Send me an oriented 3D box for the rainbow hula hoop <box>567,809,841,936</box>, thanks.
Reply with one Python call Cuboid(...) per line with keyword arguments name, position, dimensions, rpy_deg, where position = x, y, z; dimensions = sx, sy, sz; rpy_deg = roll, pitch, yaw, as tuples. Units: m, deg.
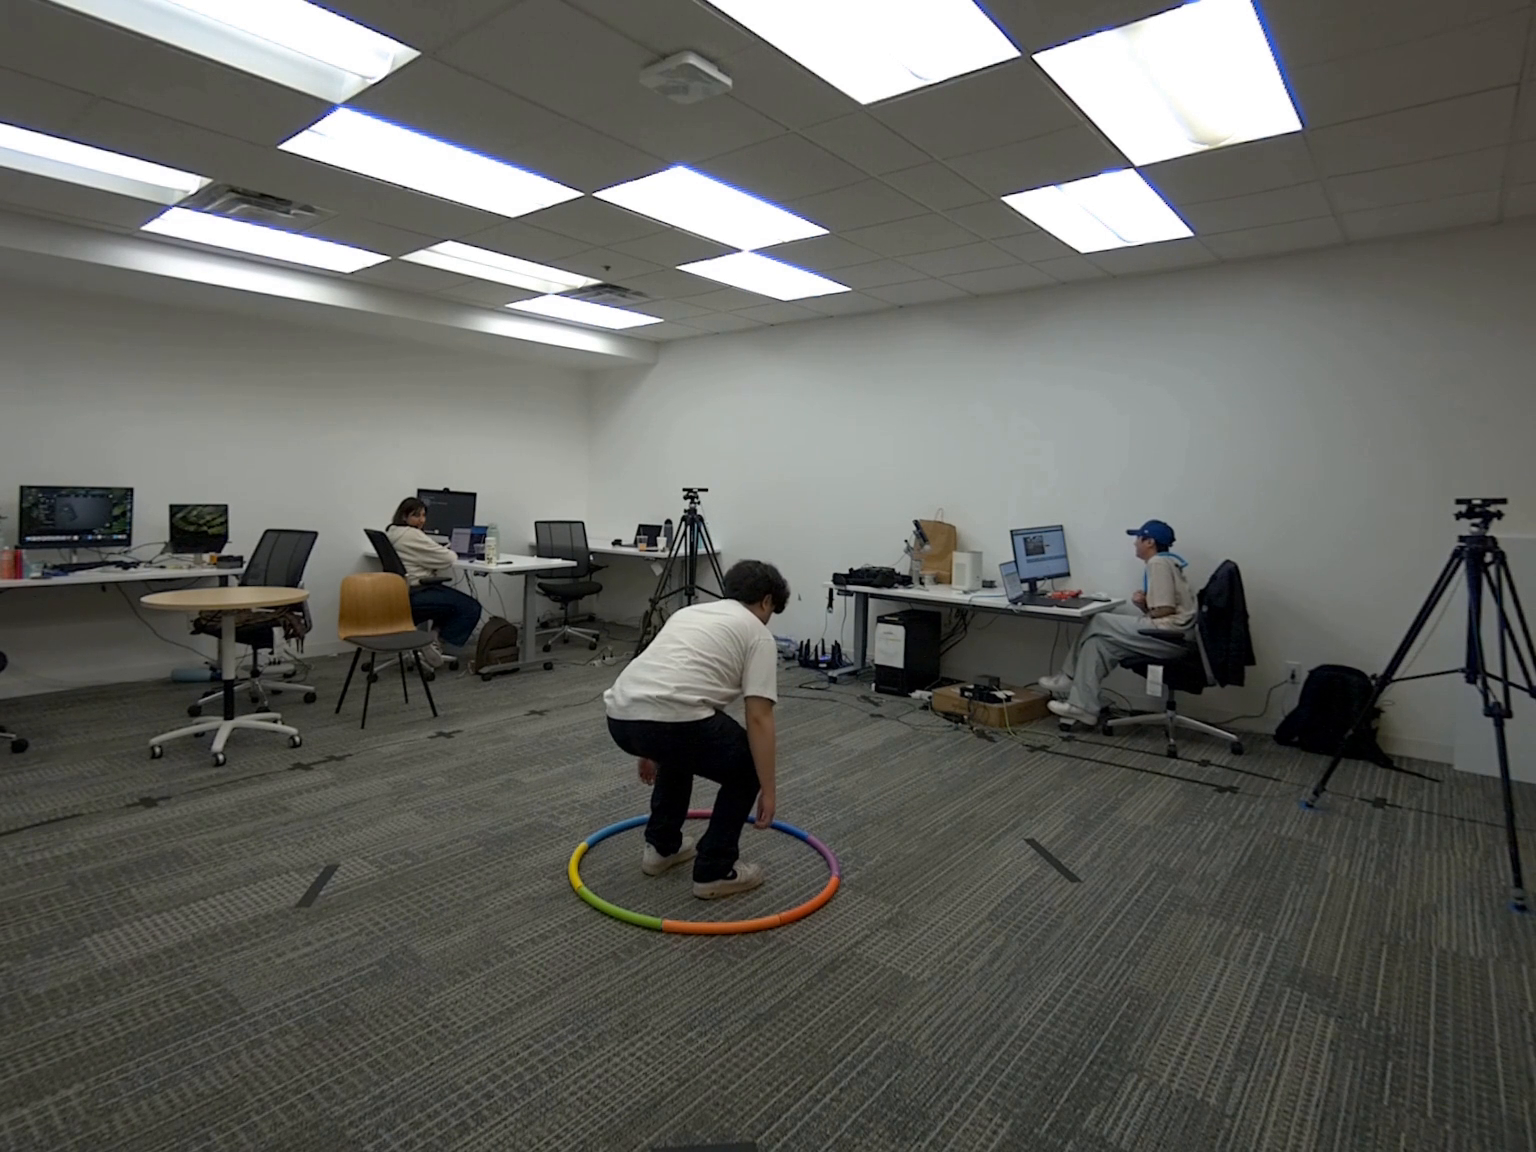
Cuboid(name="rainbow hula hoop", position=(-0.242, 1.043, 3.124), dimensions=(0.984, 0.051, 0.991), rpy_deg=(1, 6, -2))
